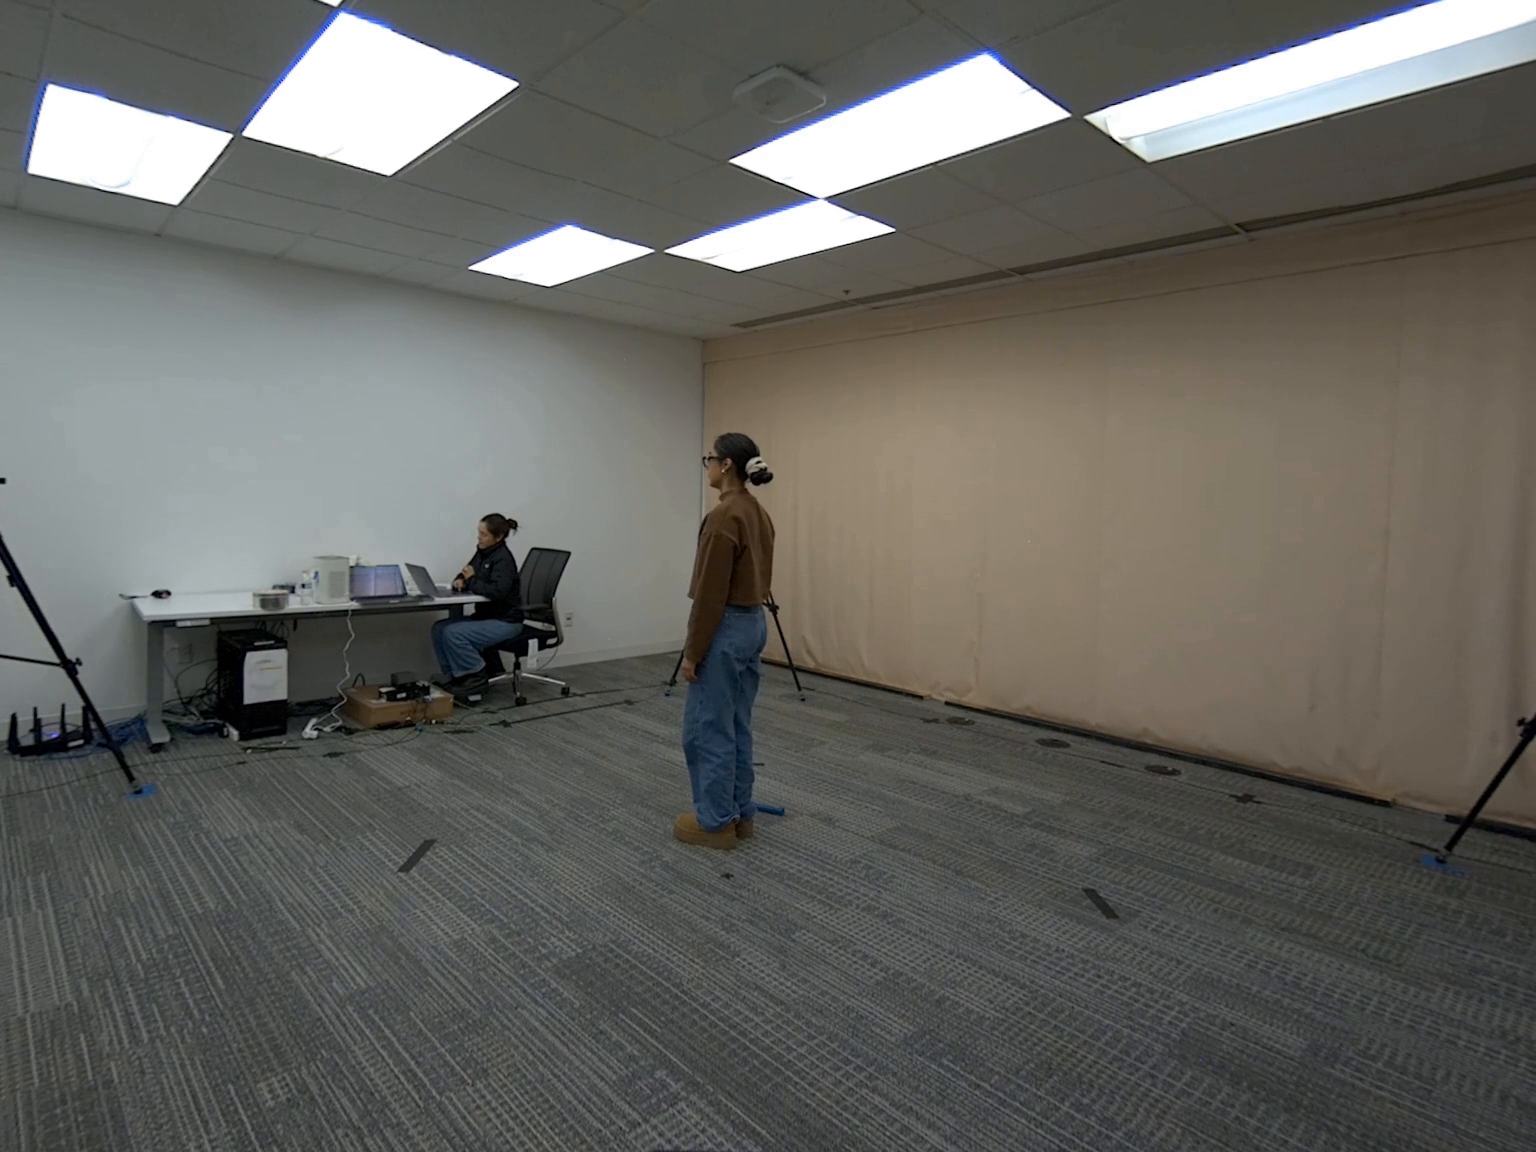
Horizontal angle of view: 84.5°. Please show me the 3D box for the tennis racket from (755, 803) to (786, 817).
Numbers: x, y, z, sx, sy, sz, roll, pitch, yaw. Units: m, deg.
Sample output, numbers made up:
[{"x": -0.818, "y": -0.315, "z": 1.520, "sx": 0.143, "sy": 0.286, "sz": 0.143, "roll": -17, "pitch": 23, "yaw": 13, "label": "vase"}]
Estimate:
[{"x": -0.132, "y": 1.035, "z": 3.825, "sx": 0.442, "sy": 0.032, "sz": 0.210, "roll": 3, "pitch": 4, "yaw": 27, "label": "tennis racket"}]
